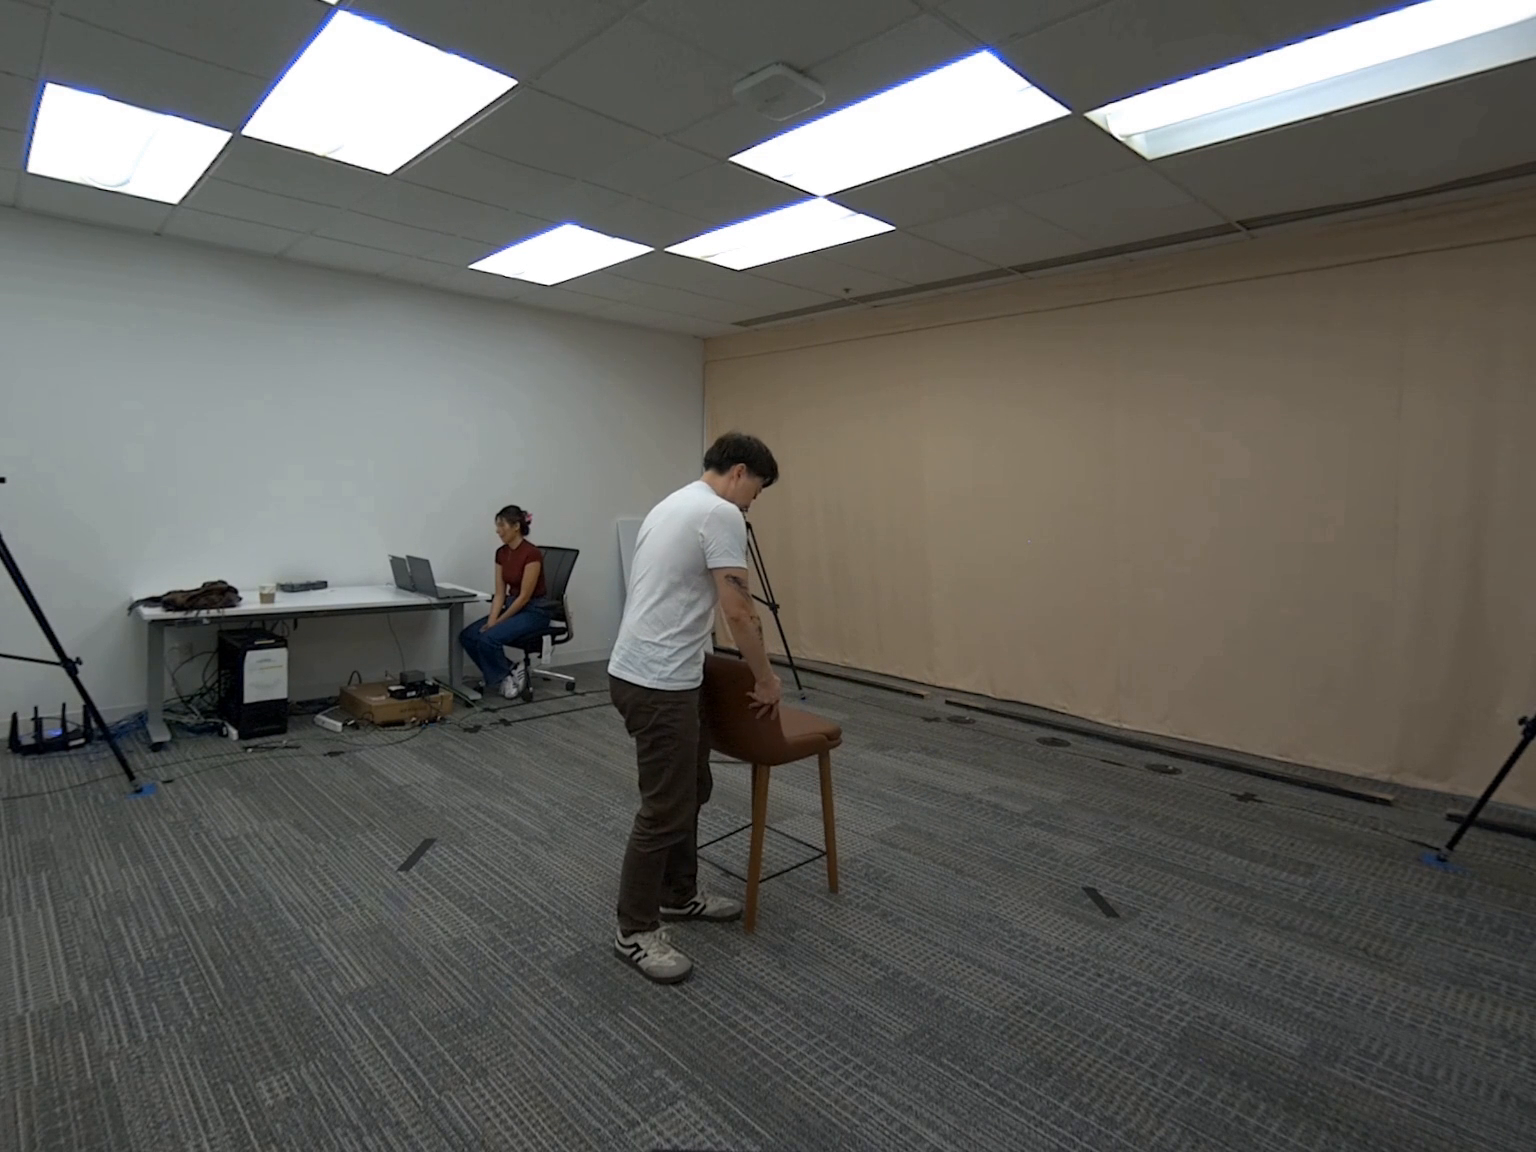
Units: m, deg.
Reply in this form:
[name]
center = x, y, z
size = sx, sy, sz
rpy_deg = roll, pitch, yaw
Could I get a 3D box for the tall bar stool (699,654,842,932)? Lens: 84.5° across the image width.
[tall bar stool]
center = -0.032, 0.676, 2.920
size = 0.457, 0.885, 0.469
rpy_deg = -6, 10, -45
